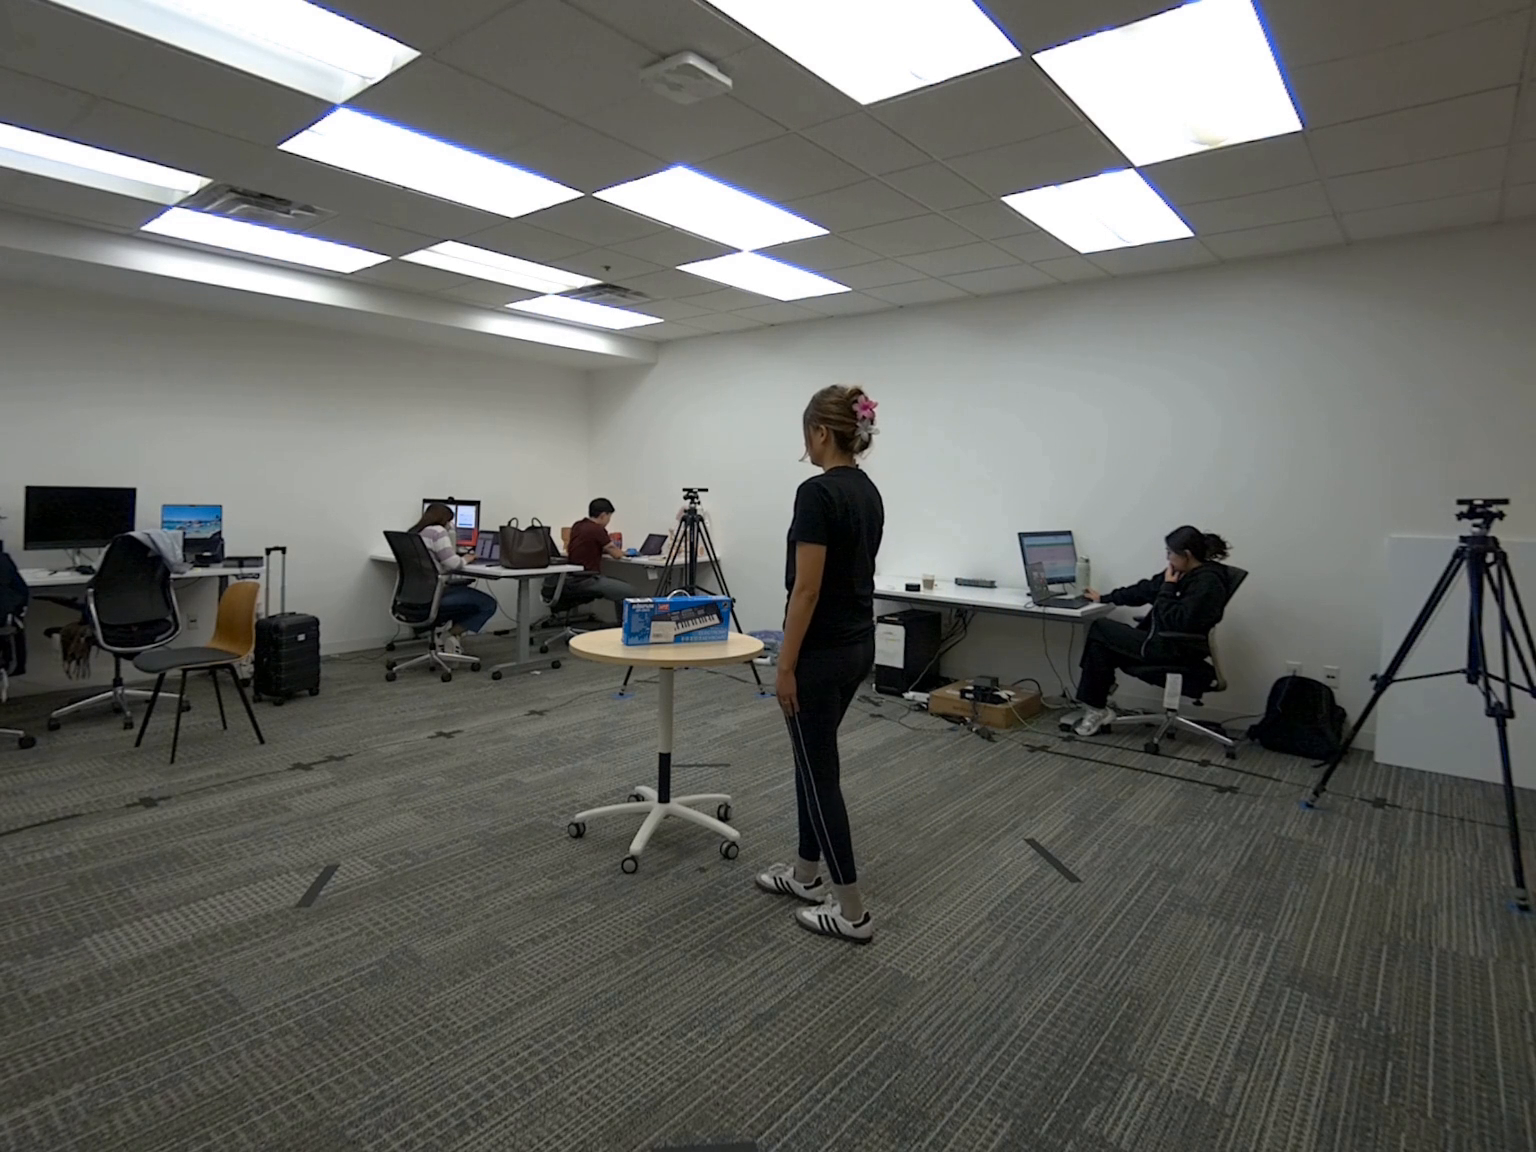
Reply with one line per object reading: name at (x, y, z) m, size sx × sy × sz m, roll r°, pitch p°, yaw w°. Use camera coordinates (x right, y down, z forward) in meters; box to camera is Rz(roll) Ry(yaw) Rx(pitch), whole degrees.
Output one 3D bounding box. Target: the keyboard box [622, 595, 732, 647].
keyboard box at (-0.371, 0.173, 3.351) m, size 0.426 × 0.174 × 0.061 m, roll -1°, pitch 11°, yaw -27°
